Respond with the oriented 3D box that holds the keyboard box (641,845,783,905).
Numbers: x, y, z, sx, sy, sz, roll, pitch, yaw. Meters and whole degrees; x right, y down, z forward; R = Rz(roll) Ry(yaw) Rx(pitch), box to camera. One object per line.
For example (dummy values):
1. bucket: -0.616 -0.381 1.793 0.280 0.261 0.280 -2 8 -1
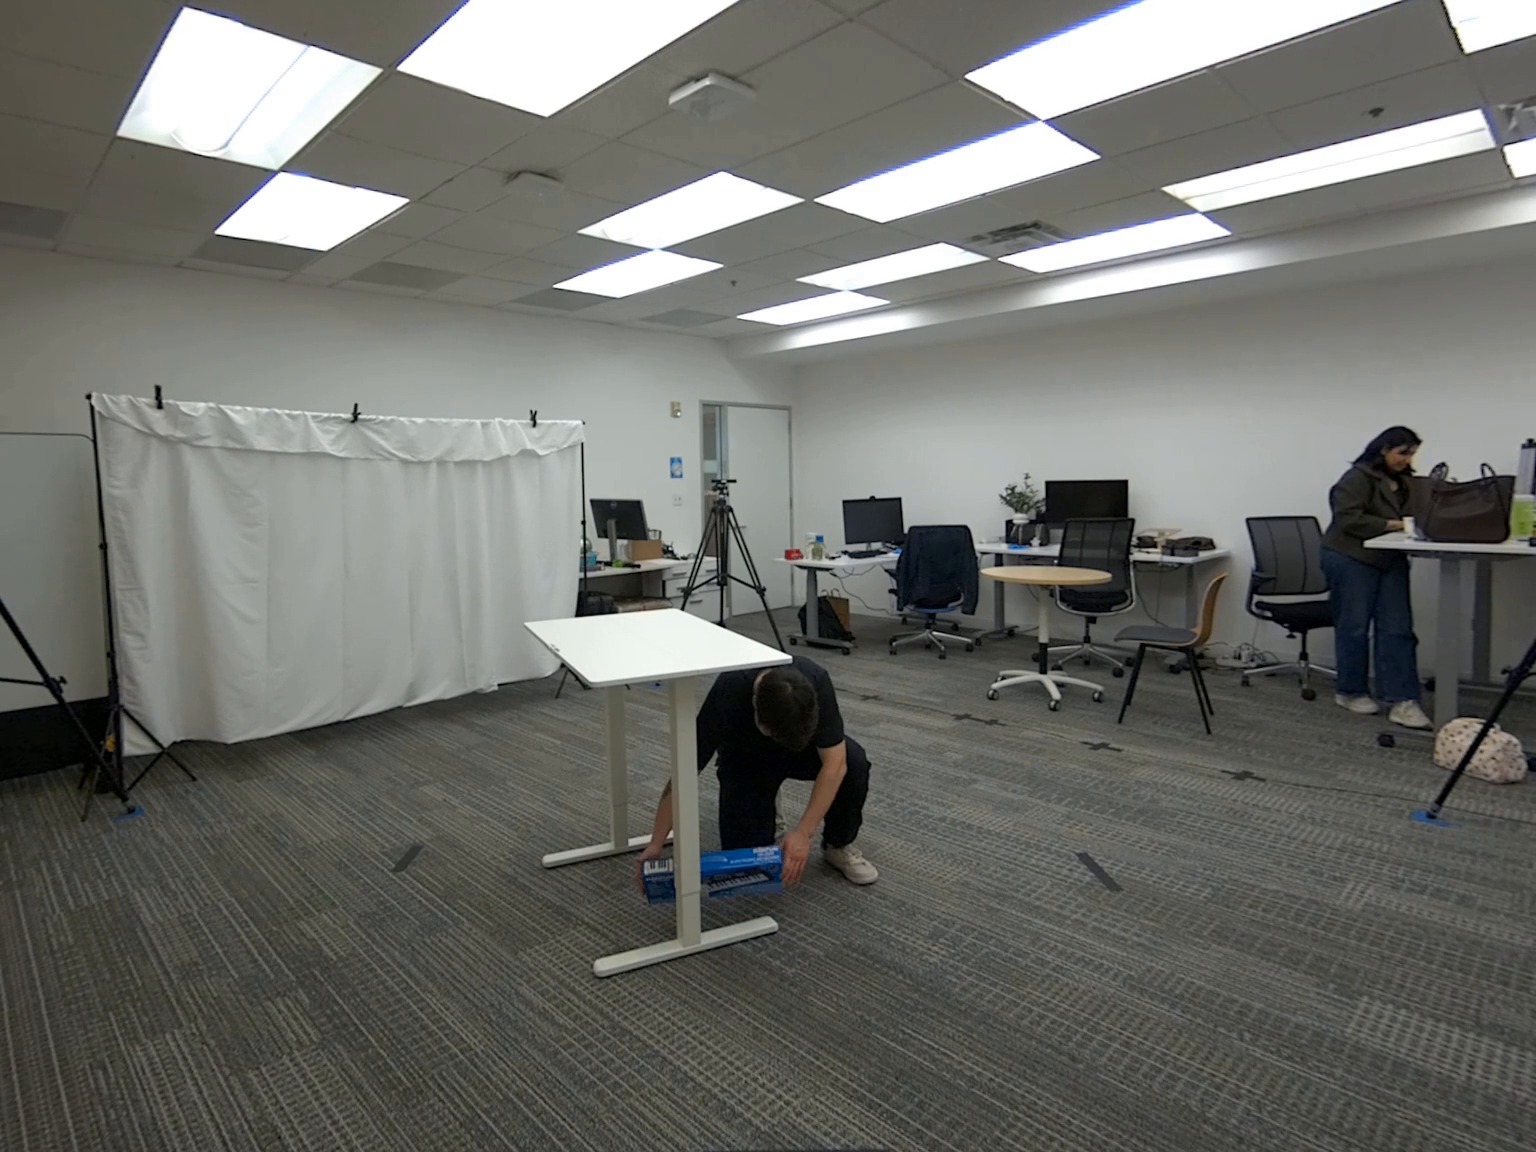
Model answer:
1. keyboard box: -0.163 0.953 2.688 0.437 0.171 0.061 -5 39 1
